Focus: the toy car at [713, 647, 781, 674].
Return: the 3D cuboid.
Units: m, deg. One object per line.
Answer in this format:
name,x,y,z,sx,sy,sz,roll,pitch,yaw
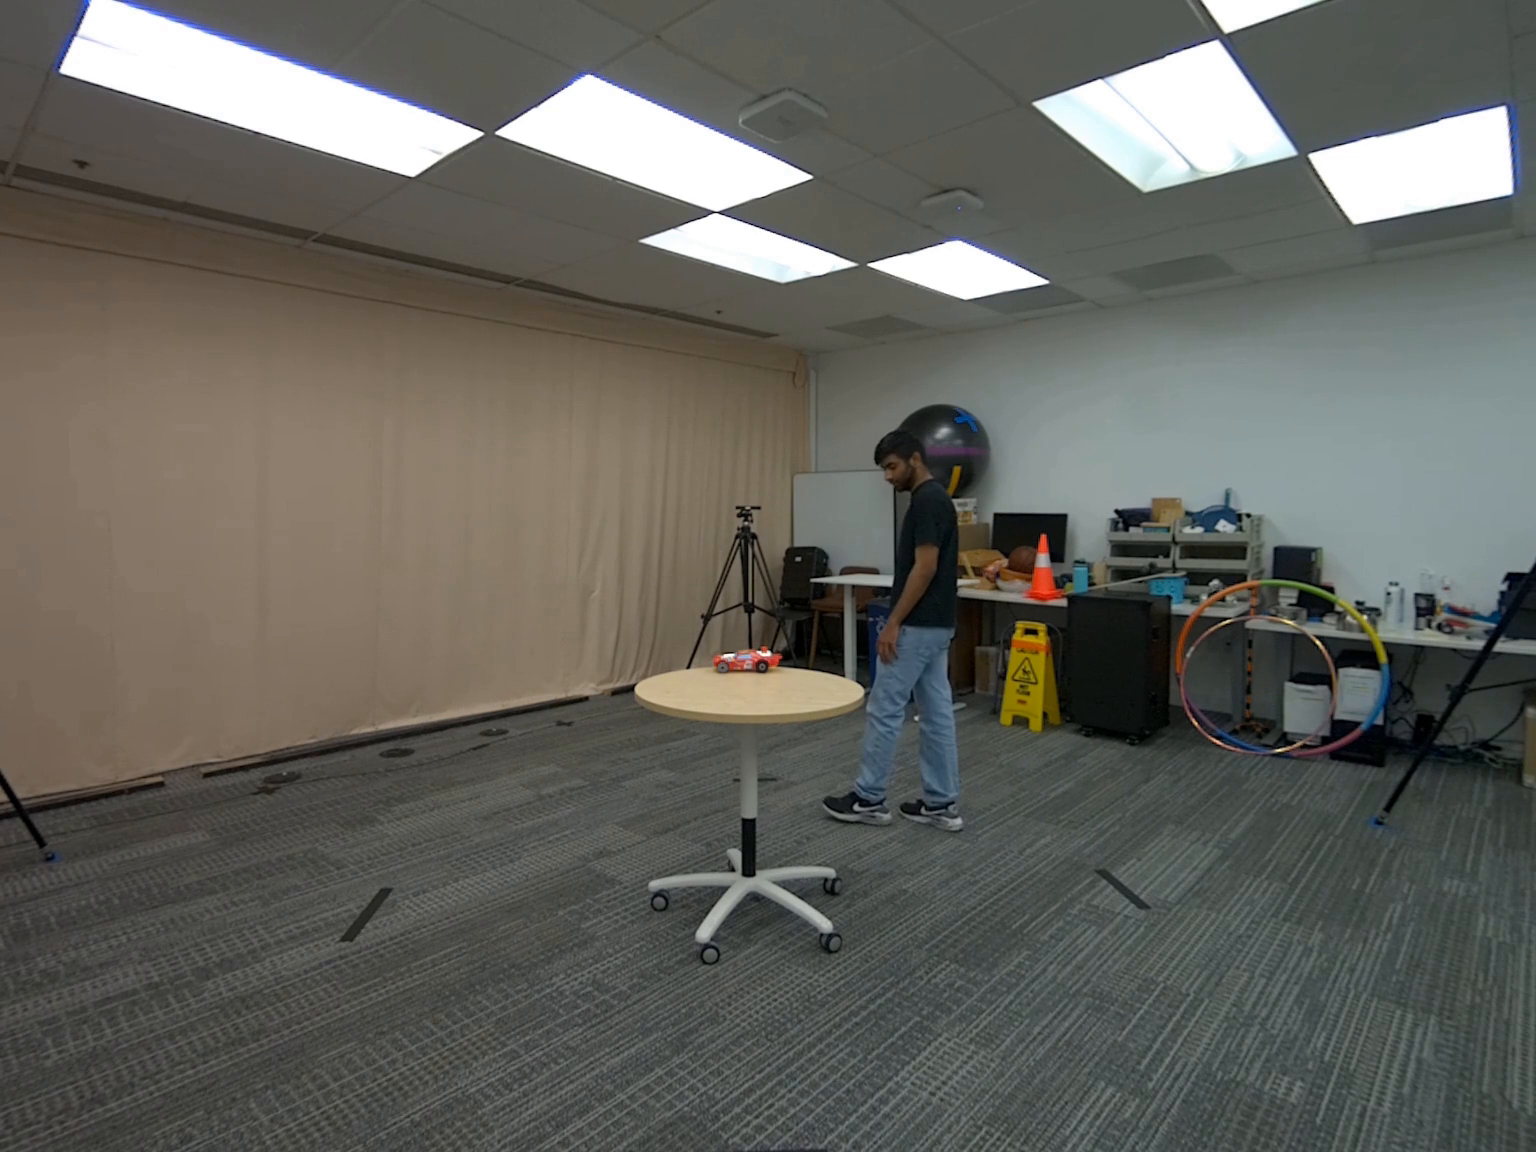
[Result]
toy car,-0.072,0.320,3.122,0.255,0.083,0.131,-11,5,0
